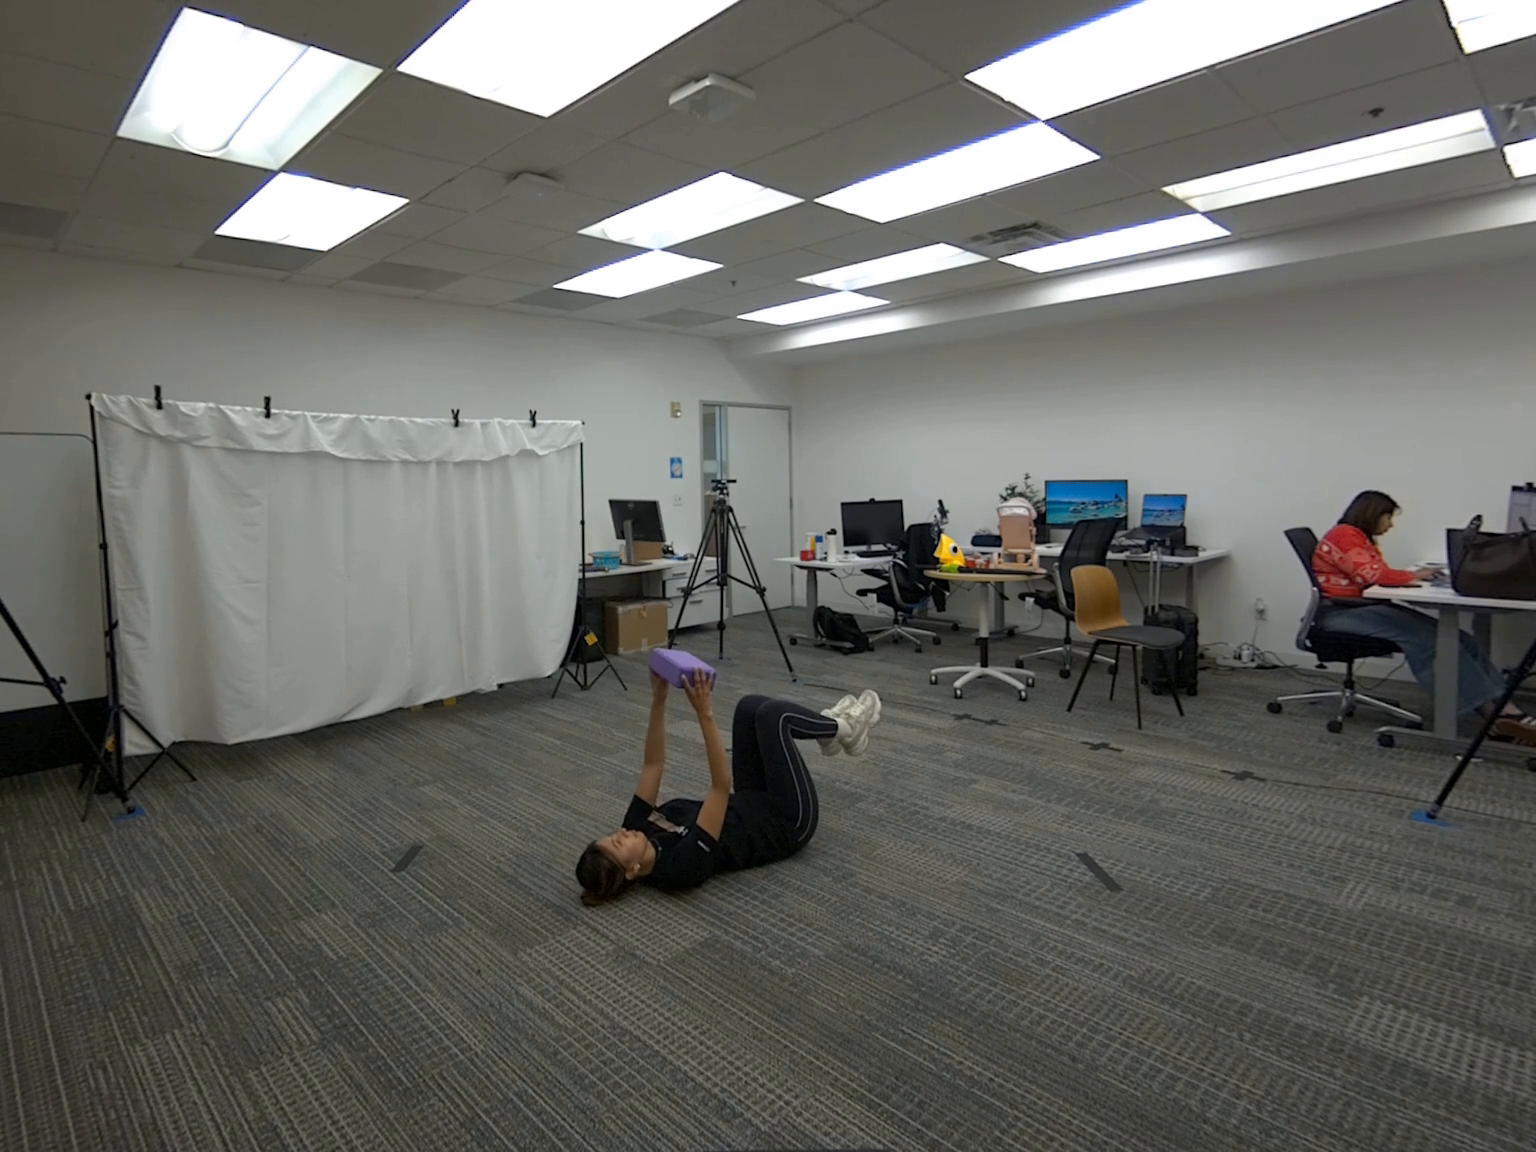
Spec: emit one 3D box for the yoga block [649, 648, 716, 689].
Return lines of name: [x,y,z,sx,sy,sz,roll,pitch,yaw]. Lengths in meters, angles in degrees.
yoga block: [-0.289,0.328,2.972,0.144,0.076,0.237,10,9,-32]
